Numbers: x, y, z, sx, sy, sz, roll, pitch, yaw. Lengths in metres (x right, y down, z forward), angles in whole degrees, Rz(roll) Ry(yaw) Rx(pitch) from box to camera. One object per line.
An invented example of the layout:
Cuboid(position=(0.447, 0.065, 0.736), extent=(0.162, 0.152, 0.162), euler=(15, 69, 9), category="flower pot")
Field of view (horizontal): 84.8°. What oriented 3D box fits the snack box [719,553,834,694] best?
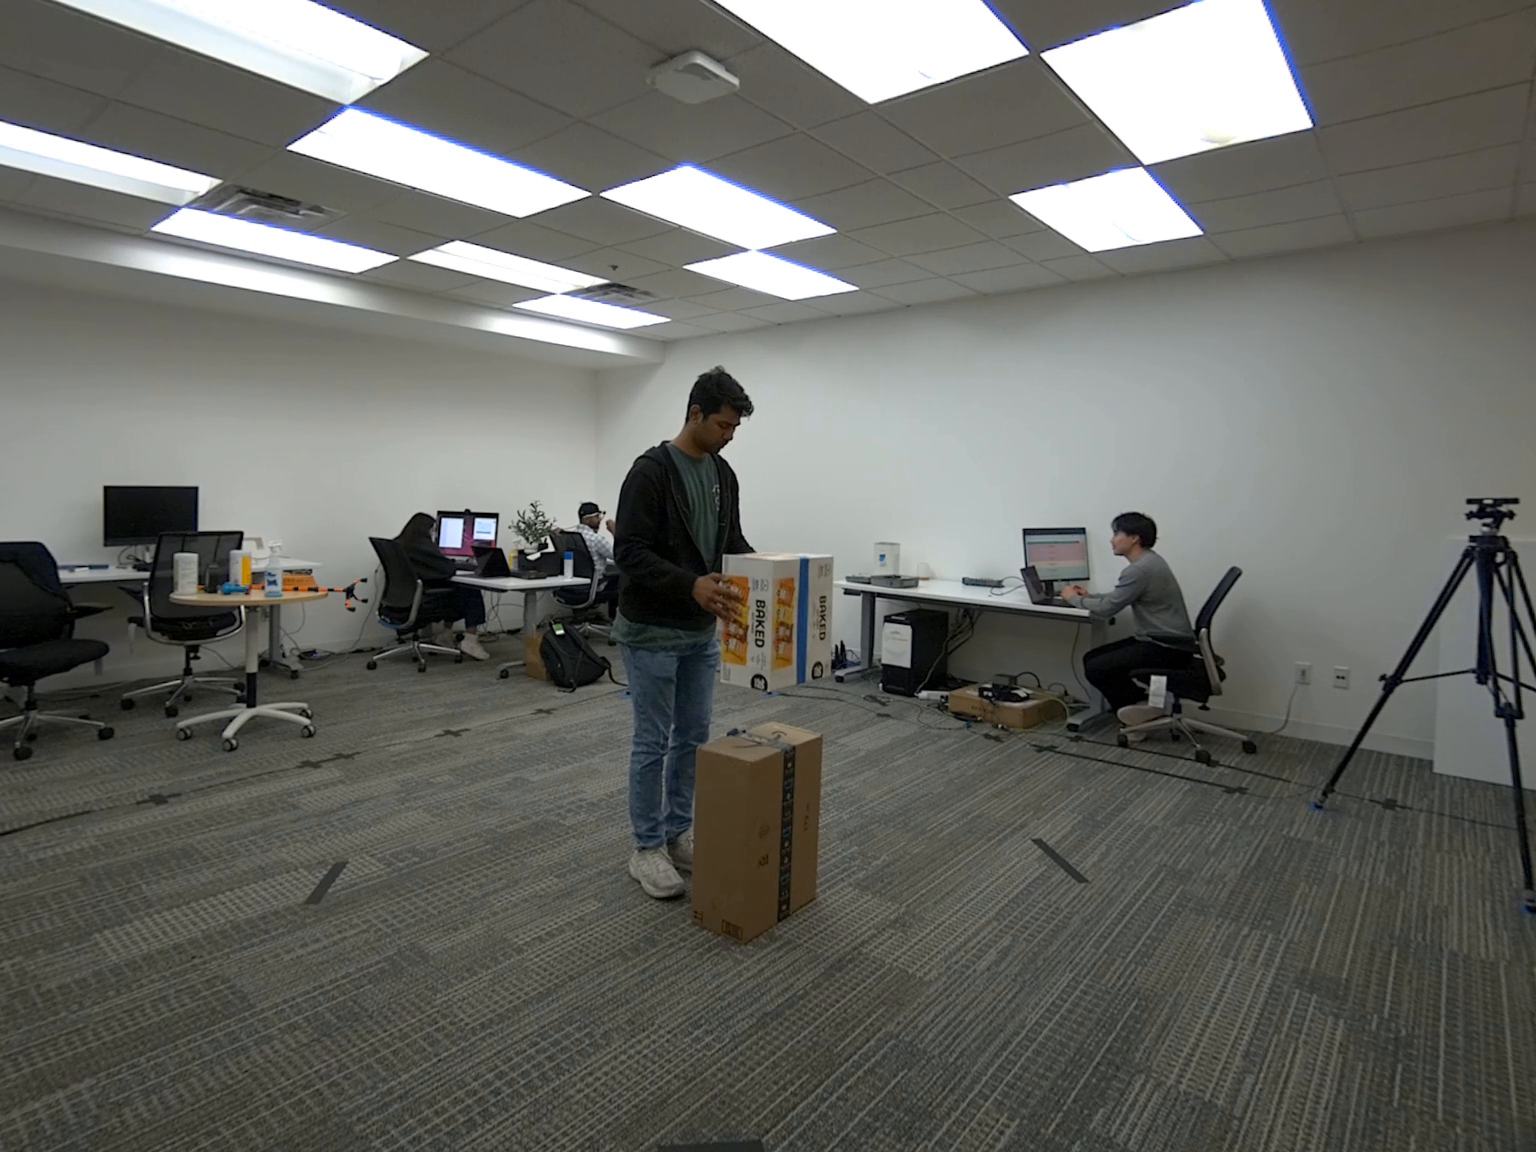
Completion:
Cuboid(position=(0.019, 0.133, 2.758), extent=(0.212, 0.404, 0.330), euler=(3, 4, 39), category="snack box")
